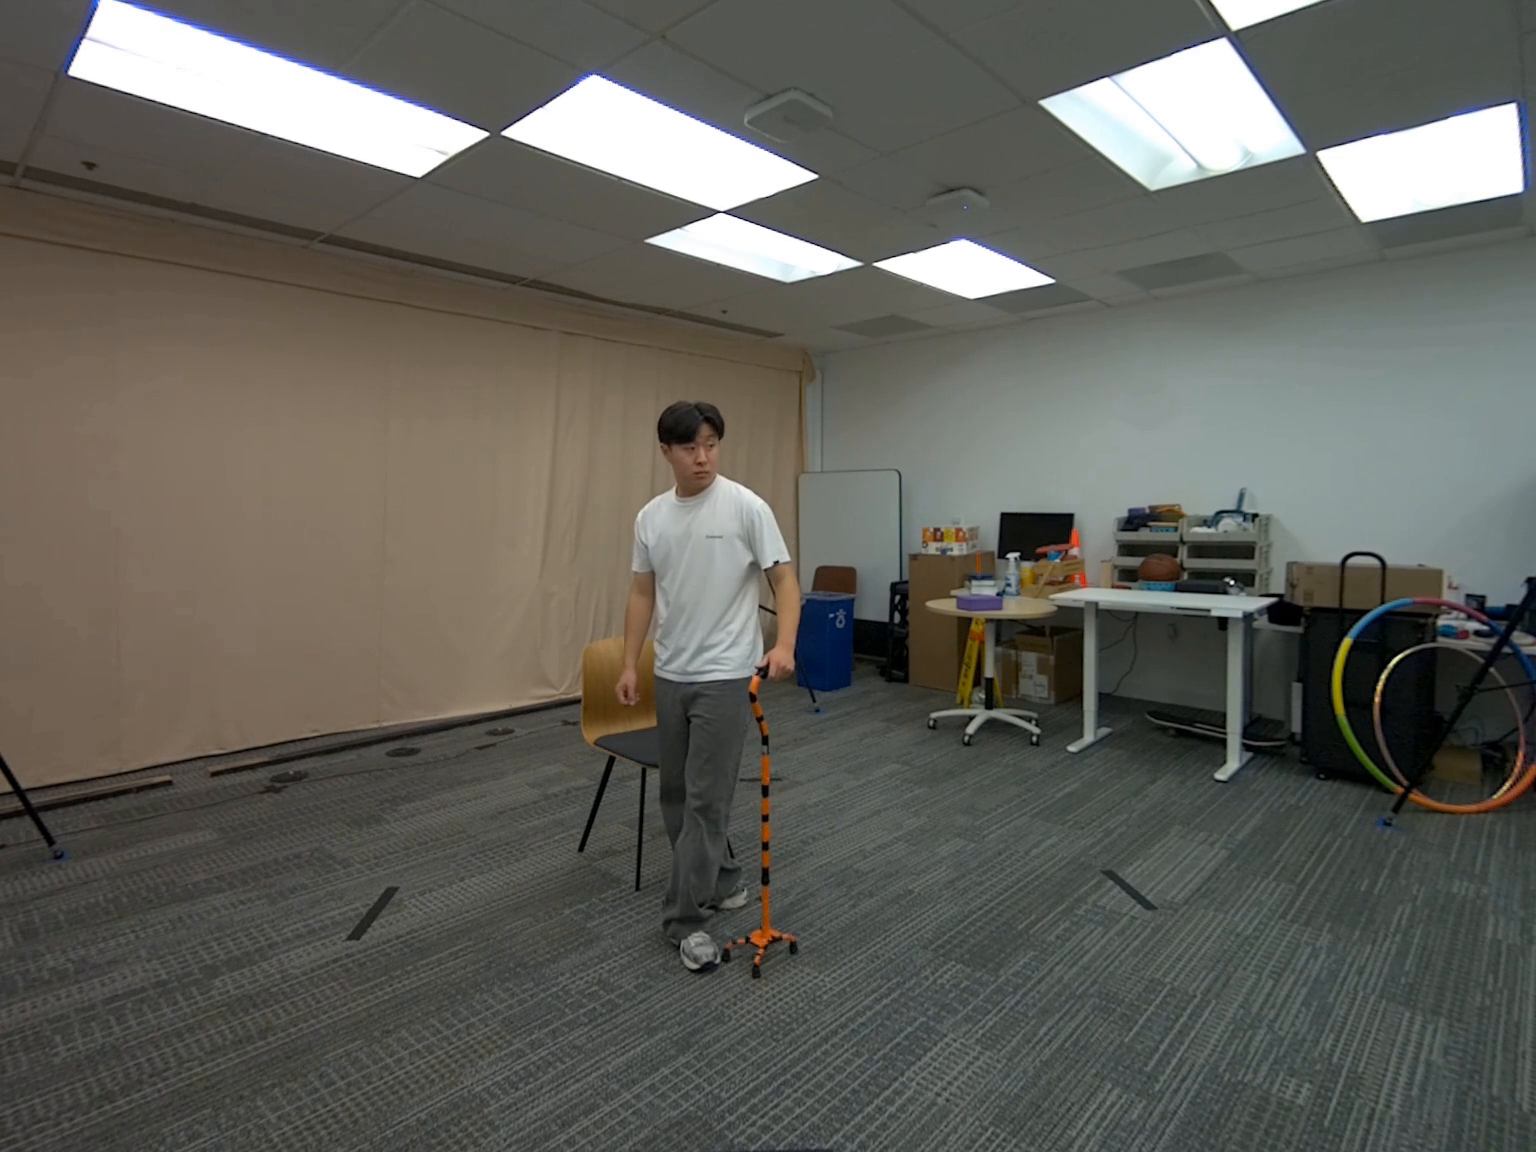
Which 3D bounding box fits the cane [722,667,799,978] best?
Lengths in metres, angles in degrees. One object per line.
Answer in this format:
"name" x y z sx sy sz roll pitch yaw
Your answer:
"cane" -0.004 0.721 2.543 0.157 0.904 0.200 7 9 43
